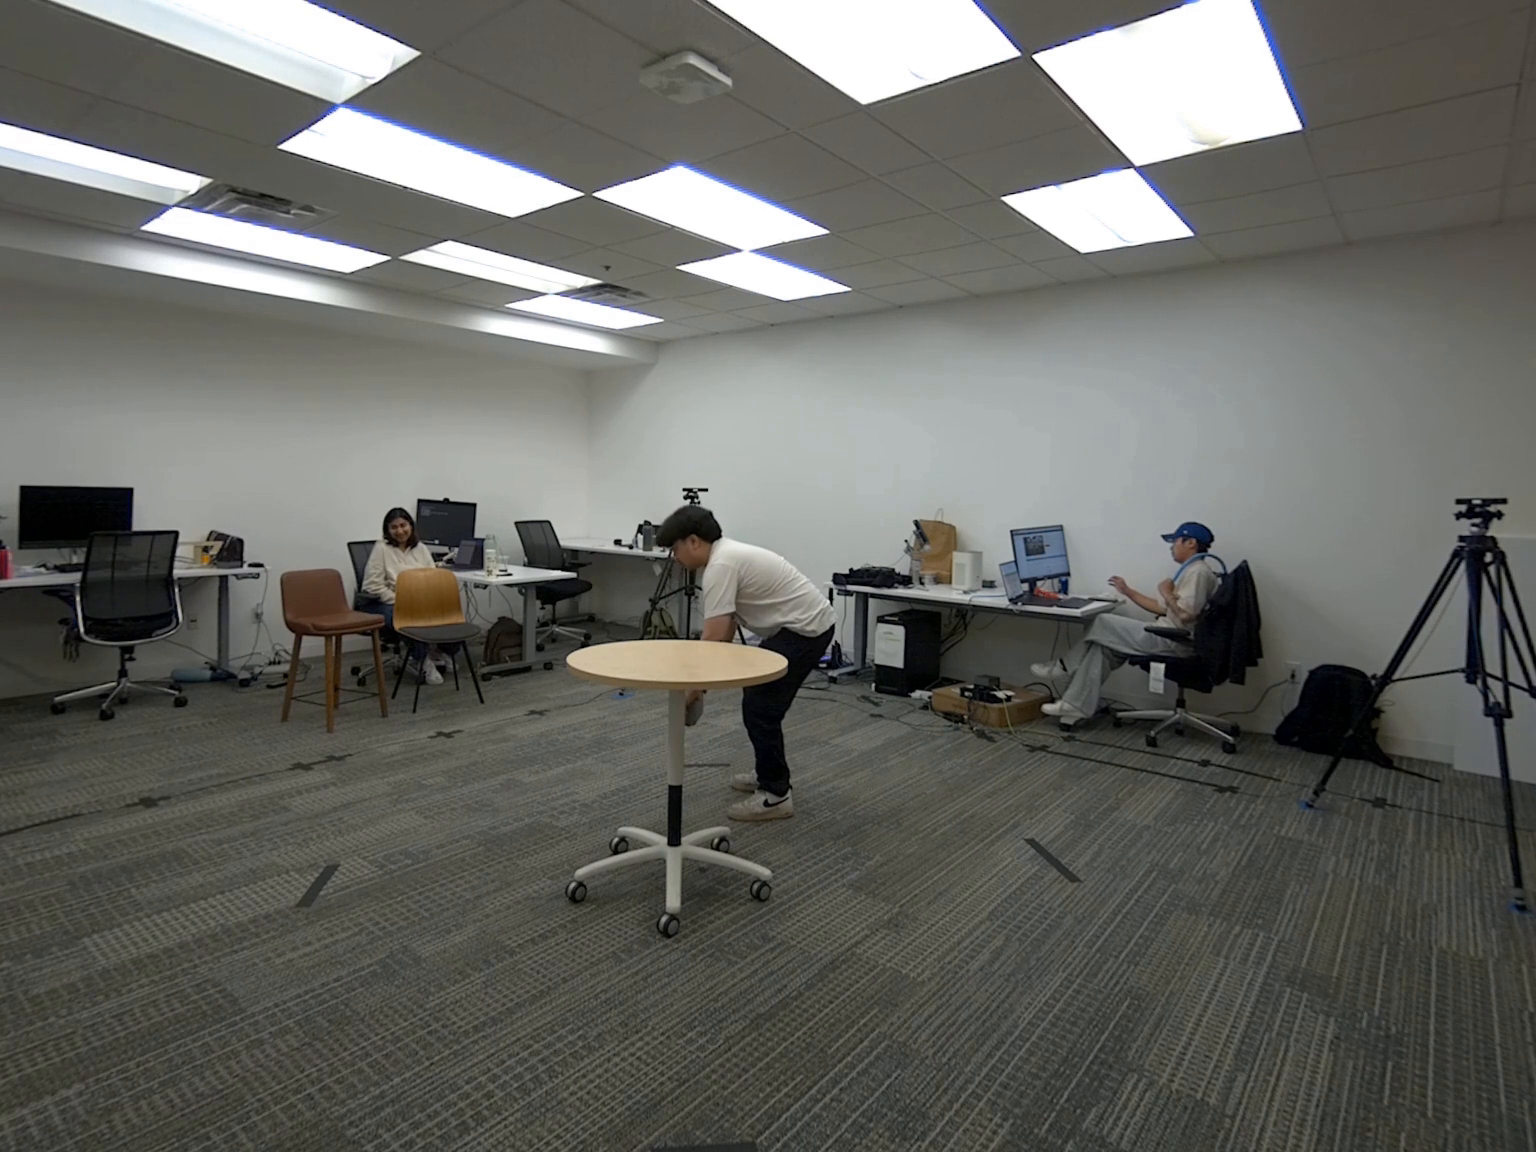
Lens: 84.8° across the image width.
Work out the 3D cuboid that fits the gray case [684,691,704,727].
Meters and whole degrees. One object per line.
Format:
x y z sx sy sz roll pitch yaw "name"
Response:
-0.365 0.510 3.816 0.105 0.260 0.255 -3 2 5 "gray case"
